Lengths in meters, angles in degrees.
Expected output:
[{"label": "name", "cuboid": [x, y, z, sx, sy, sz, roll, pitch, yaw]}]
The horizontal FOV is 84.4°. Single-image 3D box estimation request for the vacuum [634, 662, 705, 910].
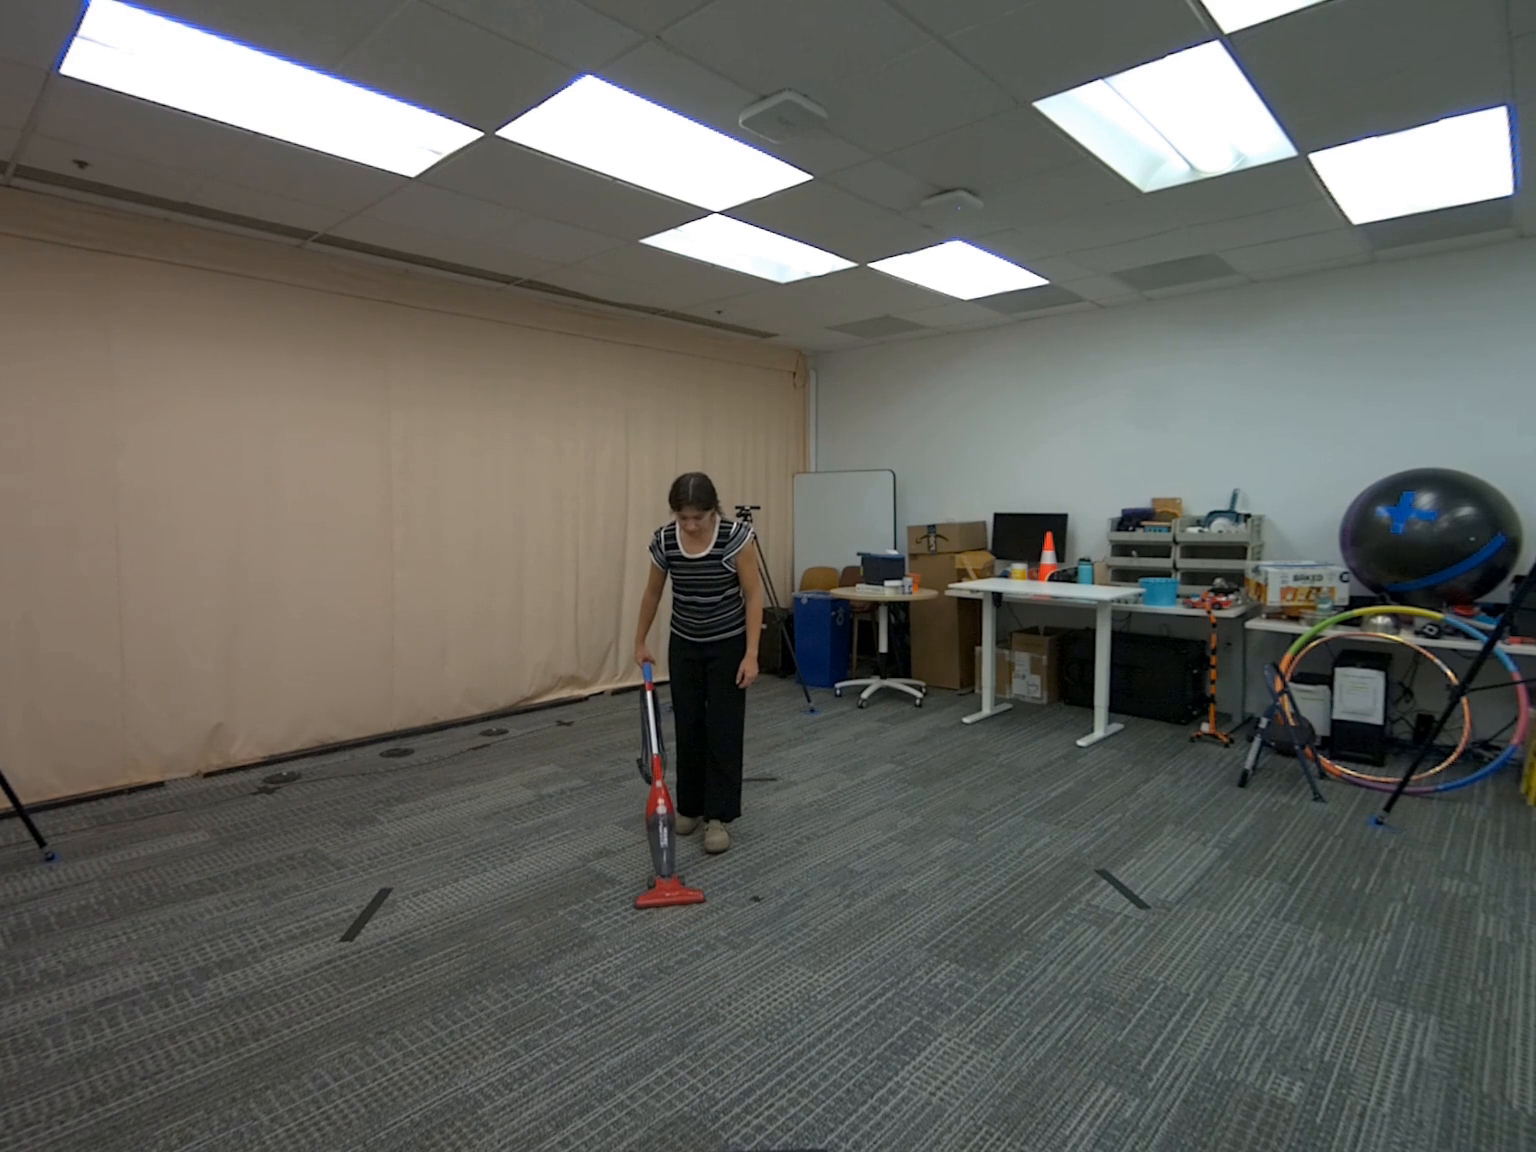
[{"label": "vacuum", "cuboid": [-0.443, 0.736, 3.337, 0.250, 0.141, 1.076, -6, 48, -9]}]
